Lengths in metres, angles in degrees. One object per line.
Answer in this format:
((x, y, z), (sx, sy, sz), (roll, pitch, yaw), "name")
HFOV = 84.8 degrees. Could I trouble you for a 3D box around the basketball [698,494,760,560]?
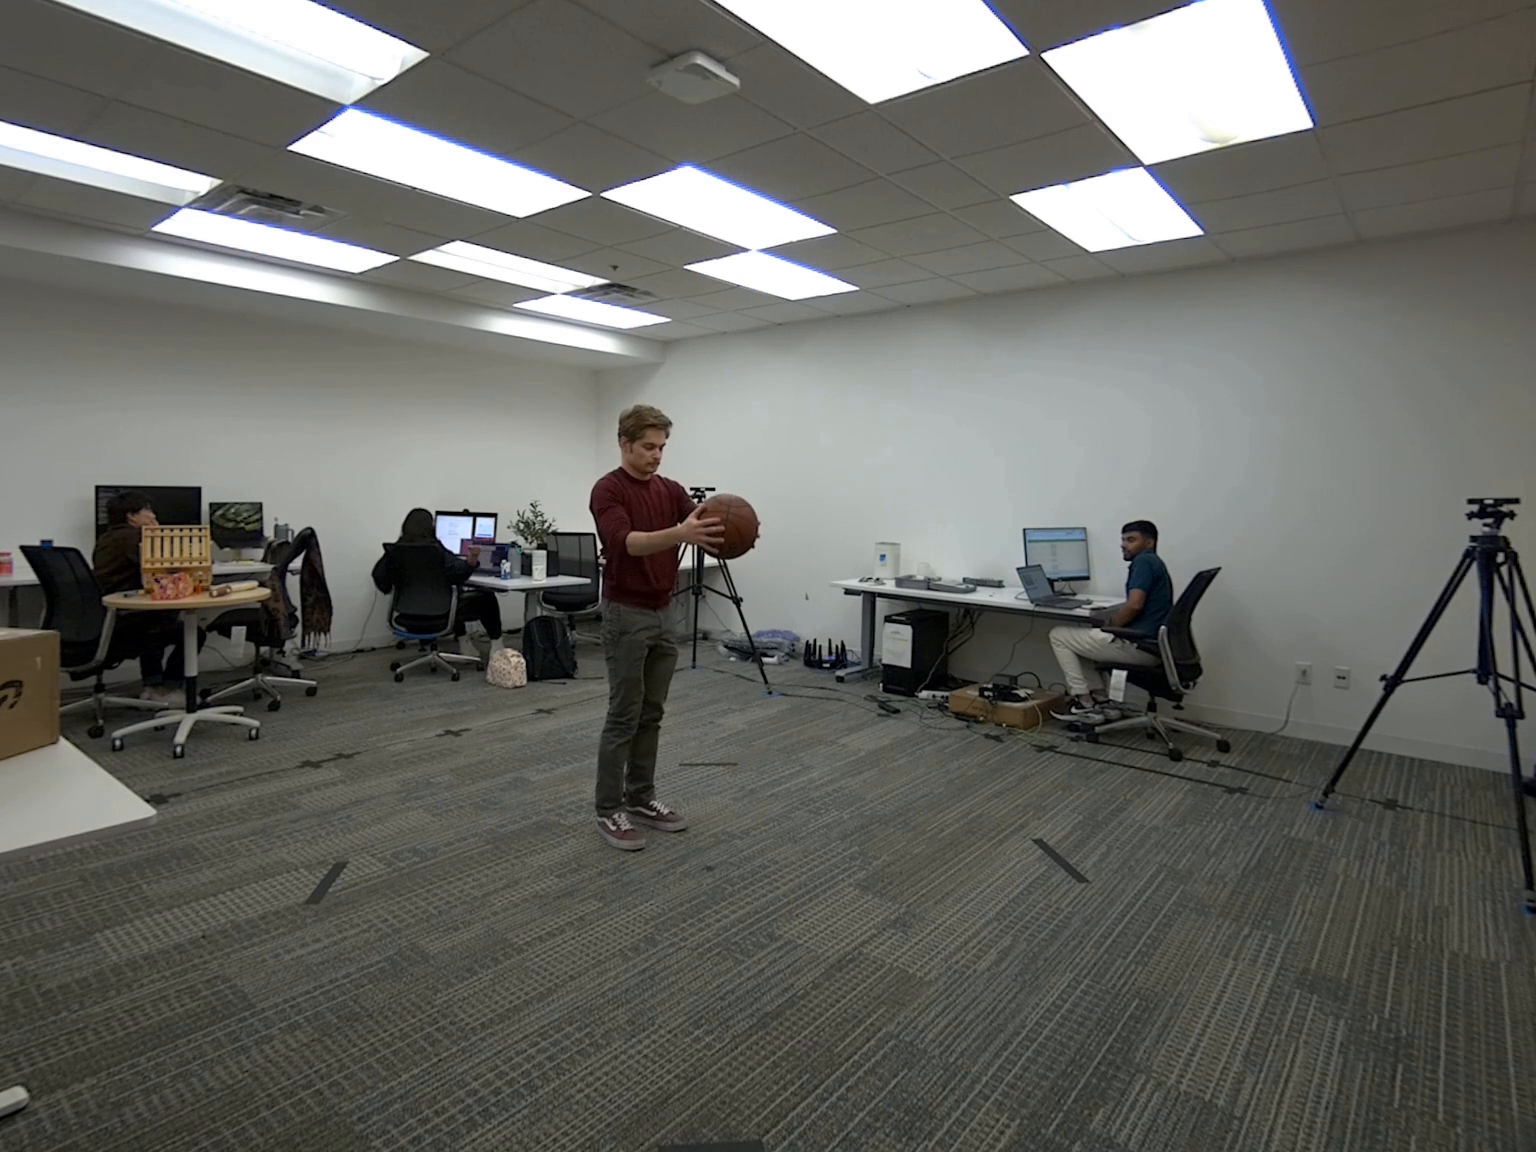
((-0.164, -0.186, 3.064), (0.235, 0.235, 0.237), (1, 4, -2), "basketball")
